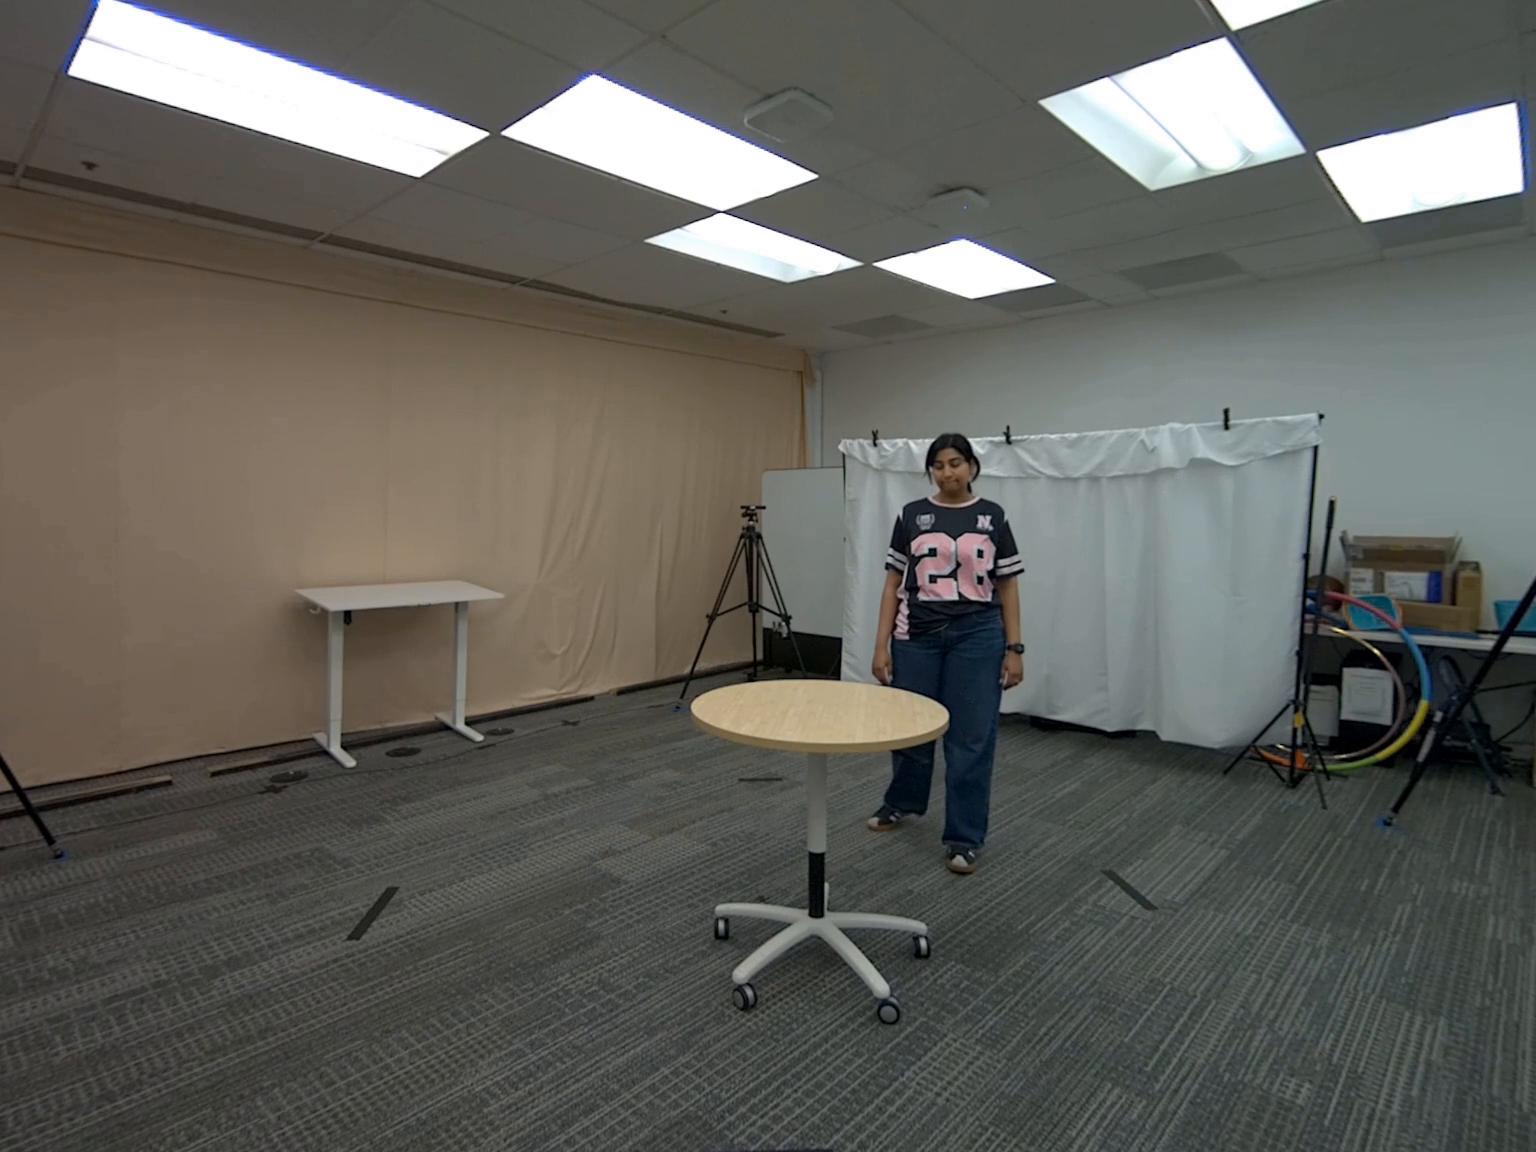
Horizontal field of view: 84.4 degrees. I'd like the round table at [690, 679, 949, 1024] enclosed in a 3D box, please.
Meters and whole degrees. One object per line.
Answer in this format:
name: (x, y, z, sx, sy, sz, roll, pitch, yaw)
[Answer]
round table: (0.165, 0.787, 2.555, 0.784, 0.784, 0.788, 0, 4, -2)
